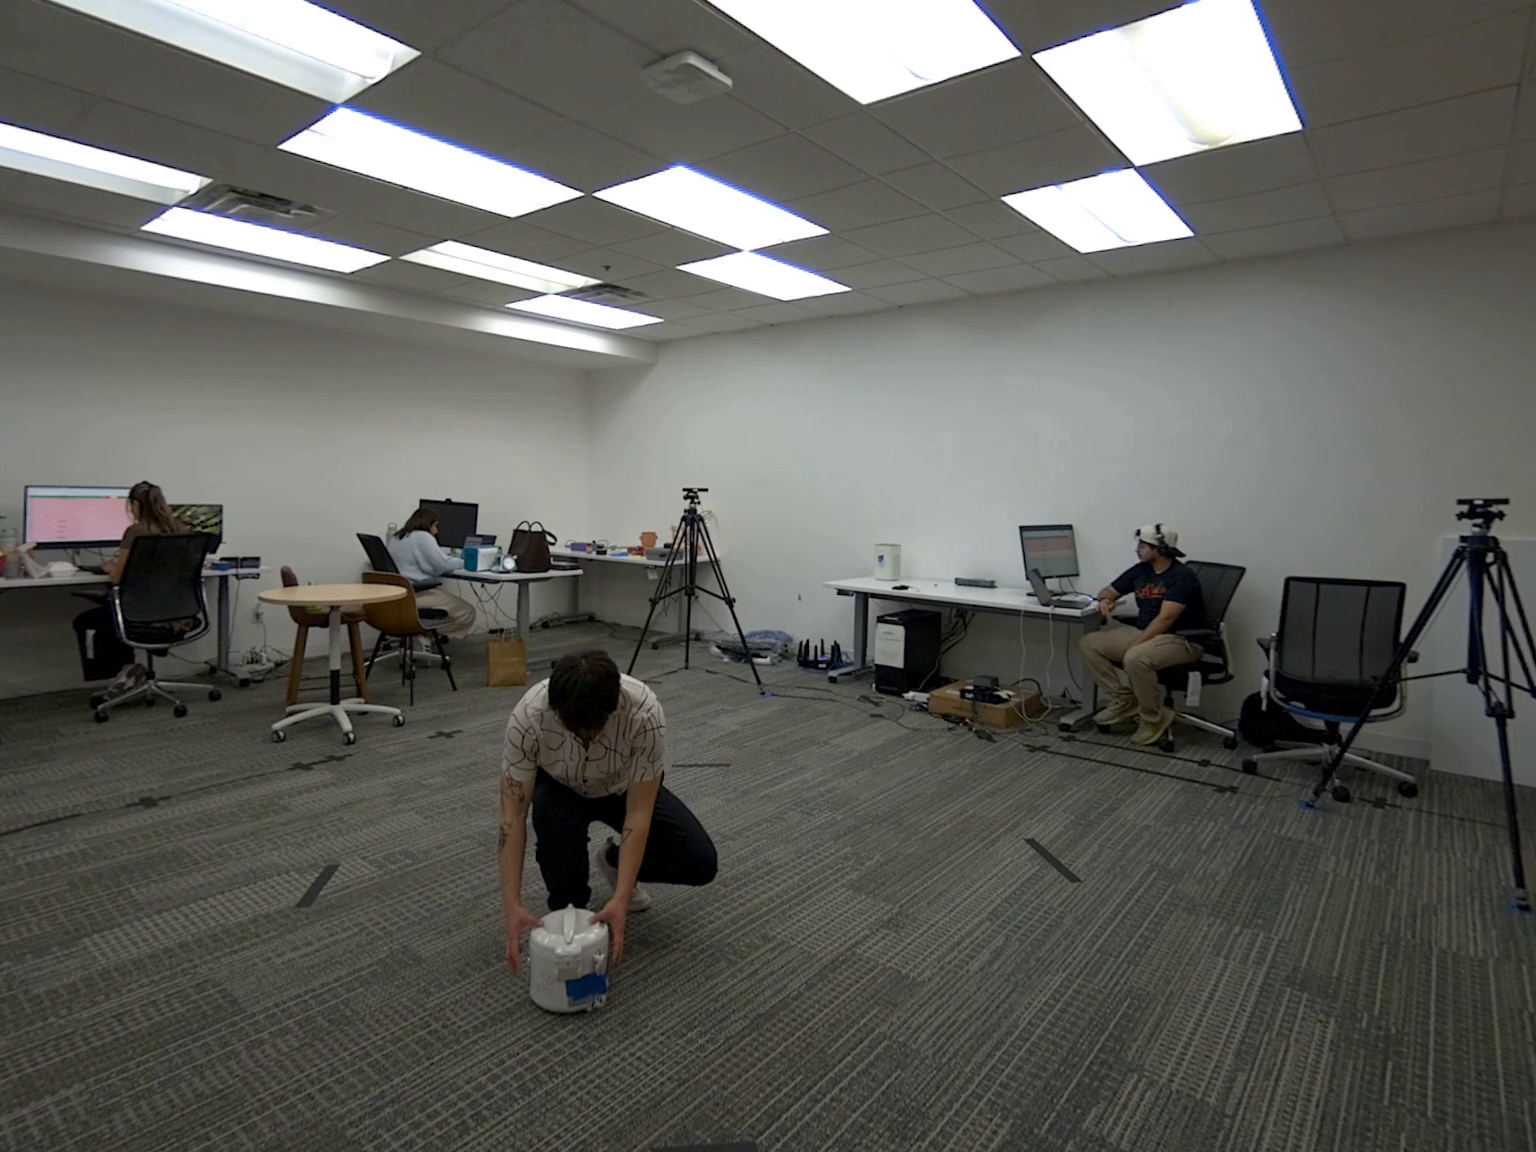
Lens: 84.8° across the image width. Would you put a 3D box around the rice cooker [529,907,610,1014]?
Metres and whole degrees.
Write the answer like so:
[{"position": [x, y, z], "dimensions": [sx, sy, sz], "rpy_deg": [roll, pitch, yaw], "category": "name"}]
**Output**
[{"position": [-0.550, 1.026, 2.312], "dimensions": [0.215, 0.232, 0.224], "rpy_deg": [1, 4, -11], "category": "rice cooker"}]
